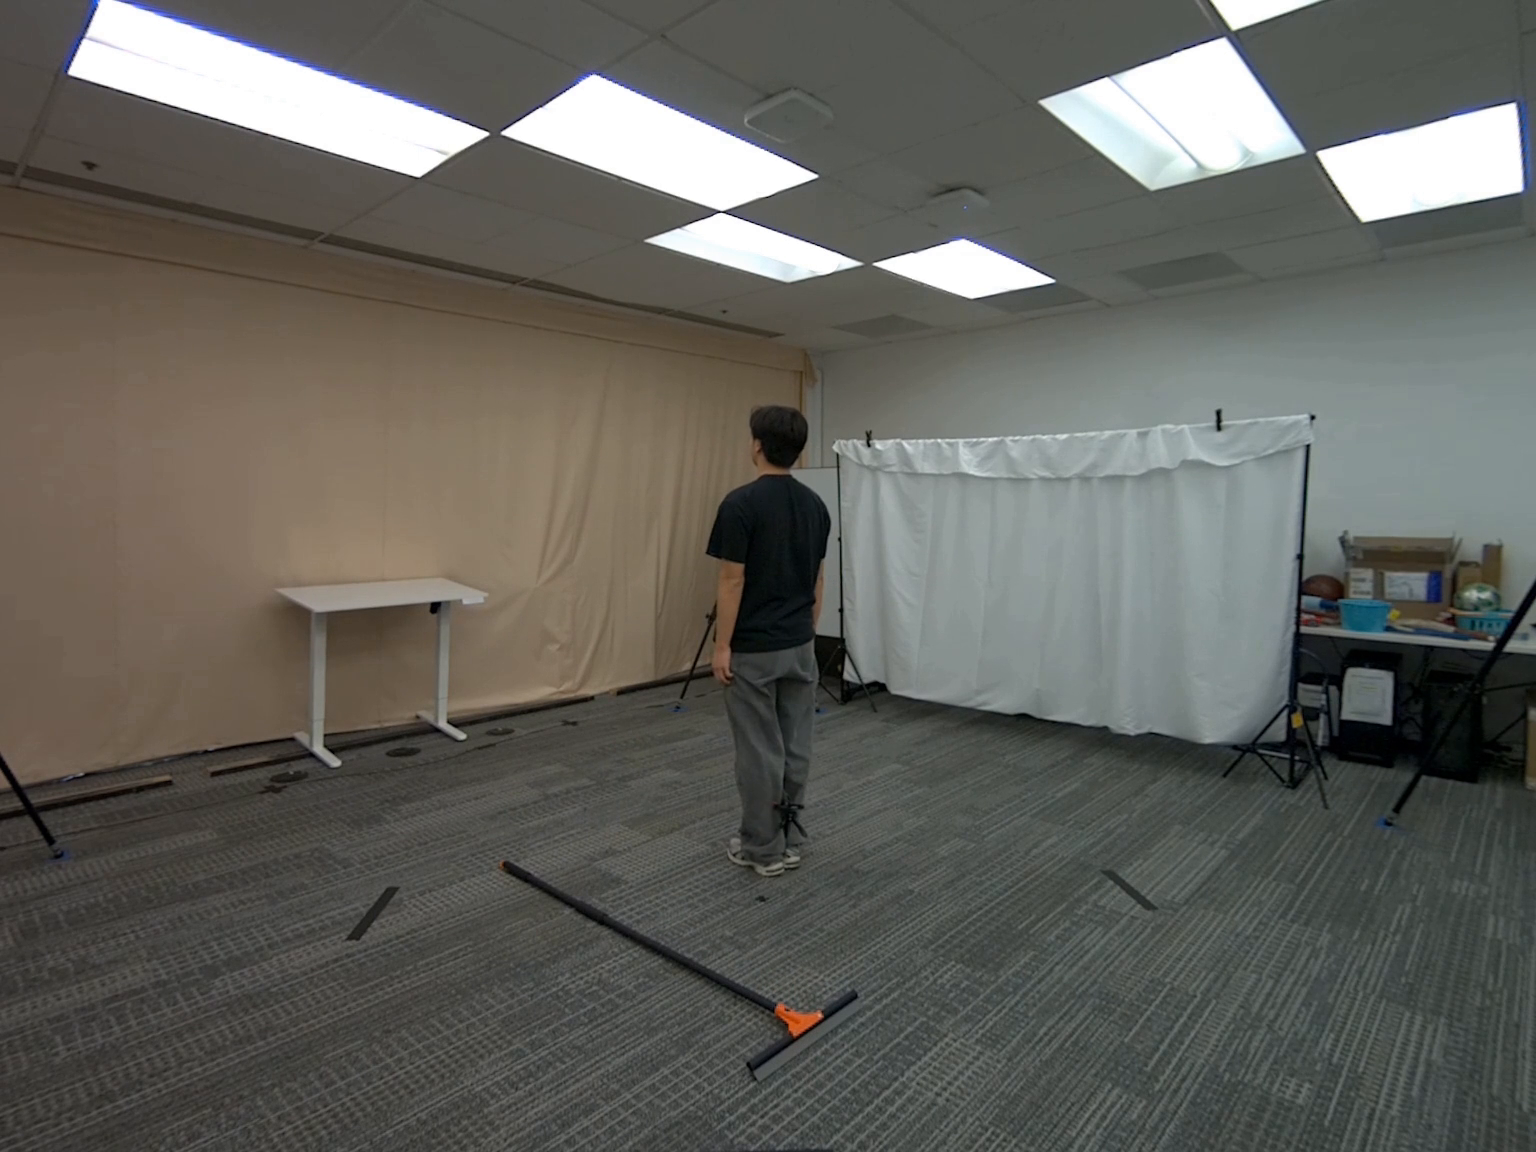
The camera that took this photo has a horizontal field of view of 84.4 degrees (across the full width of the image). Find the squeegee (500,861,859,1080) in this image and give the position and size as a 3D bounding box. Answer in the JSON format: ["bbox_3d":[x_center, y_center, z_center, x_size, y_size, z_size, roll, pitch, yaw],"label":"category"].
[{"bbox_3d":[-0.445,1.130,2.731,1.589,0.053,0.424,3,5,44],"label":"squeegee"}]
